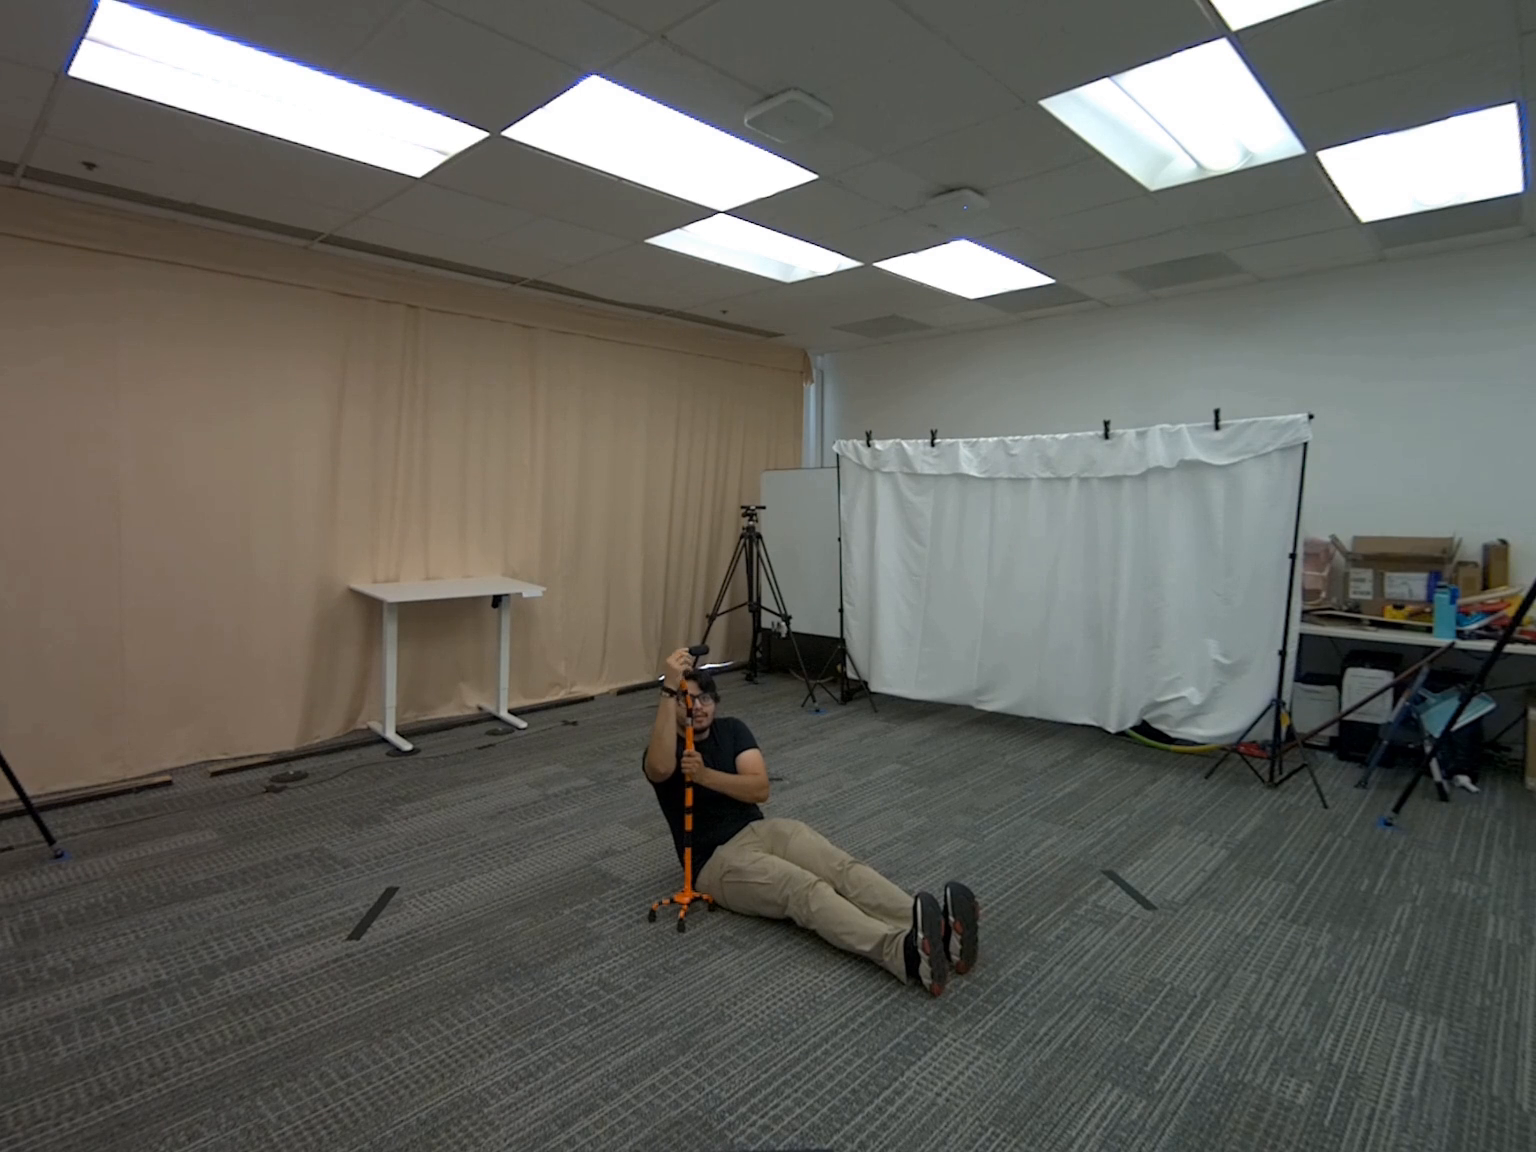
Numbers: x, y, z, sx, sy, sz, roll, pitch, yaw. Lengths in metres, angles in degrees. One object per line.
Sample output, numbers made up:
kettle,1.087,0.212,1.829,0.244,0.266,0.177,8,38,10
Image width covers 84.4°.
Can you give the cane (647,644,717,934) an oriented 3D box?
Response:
cane,-0.290,0.696,2.858,0.156,0.907,0.200,1,1,31
